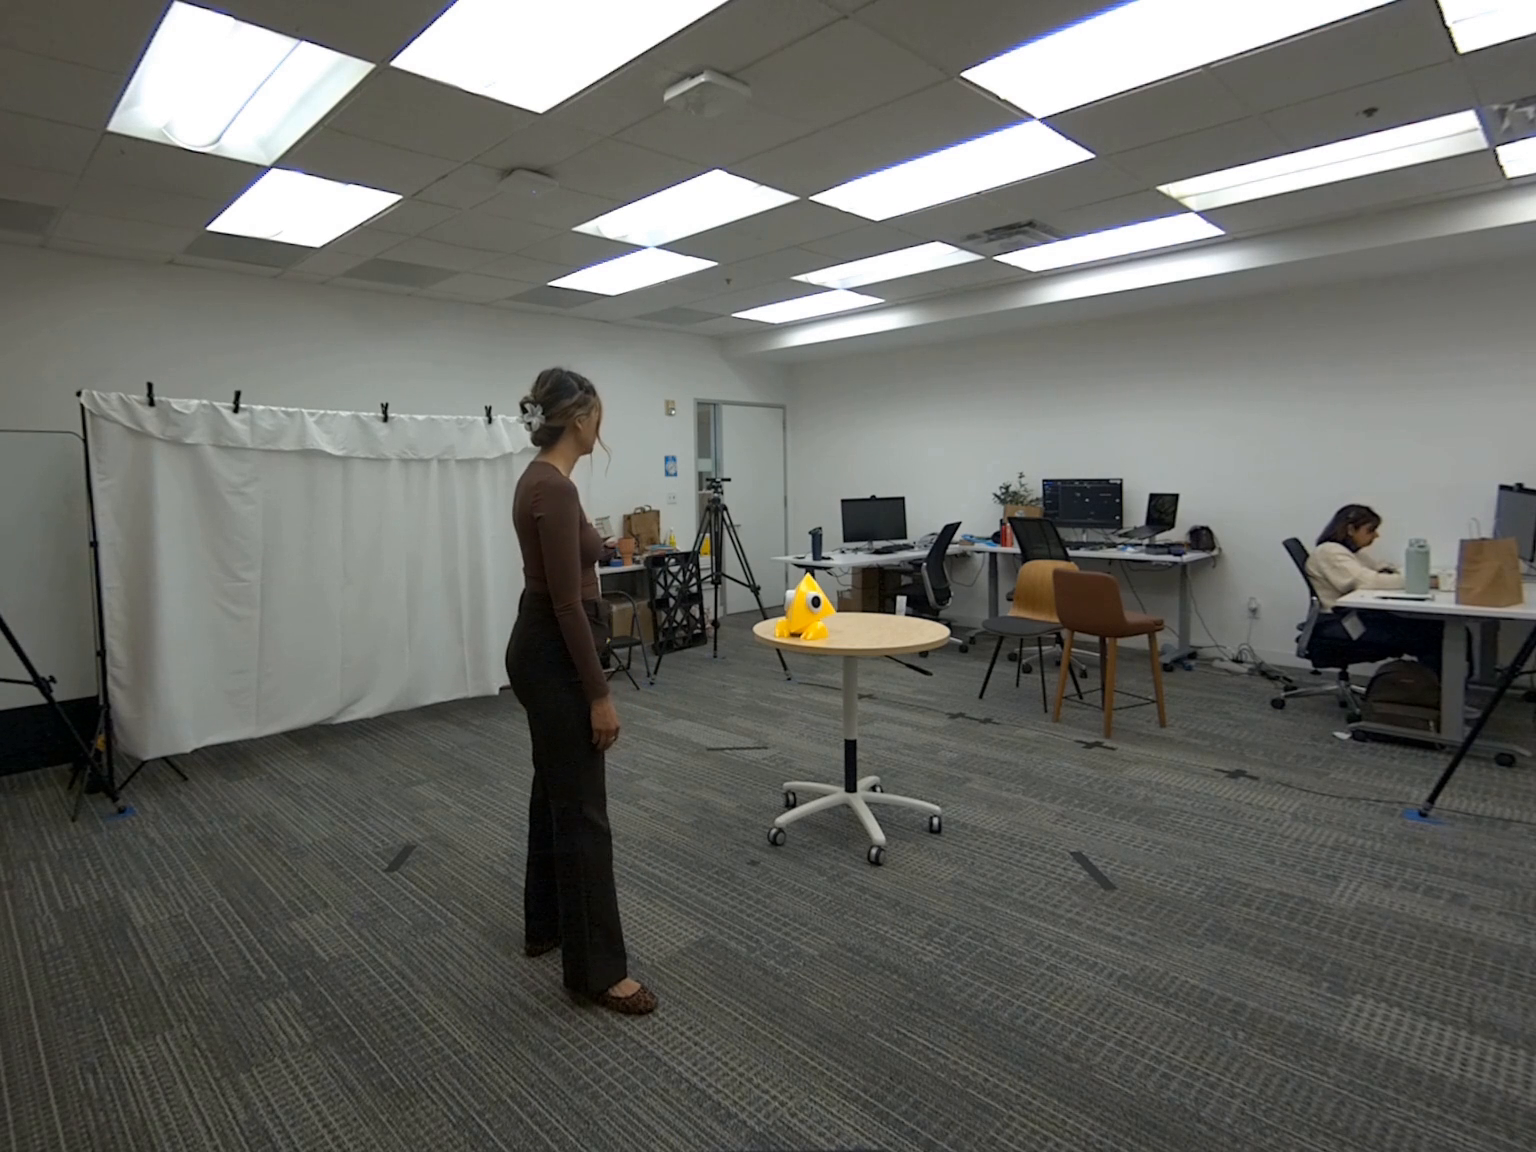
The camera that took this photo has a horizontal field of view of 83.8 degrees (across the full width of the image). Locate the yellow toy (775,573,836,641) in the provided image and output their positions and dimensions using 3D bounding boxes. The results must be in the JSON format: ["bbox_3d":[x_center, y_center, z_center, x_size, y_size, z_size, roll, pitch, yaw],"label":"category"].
[{"bbox_3d":[0.131,0.111,3.256,0.210,0.230,0.189,2,5,28],"label":"yellow toy"}]
